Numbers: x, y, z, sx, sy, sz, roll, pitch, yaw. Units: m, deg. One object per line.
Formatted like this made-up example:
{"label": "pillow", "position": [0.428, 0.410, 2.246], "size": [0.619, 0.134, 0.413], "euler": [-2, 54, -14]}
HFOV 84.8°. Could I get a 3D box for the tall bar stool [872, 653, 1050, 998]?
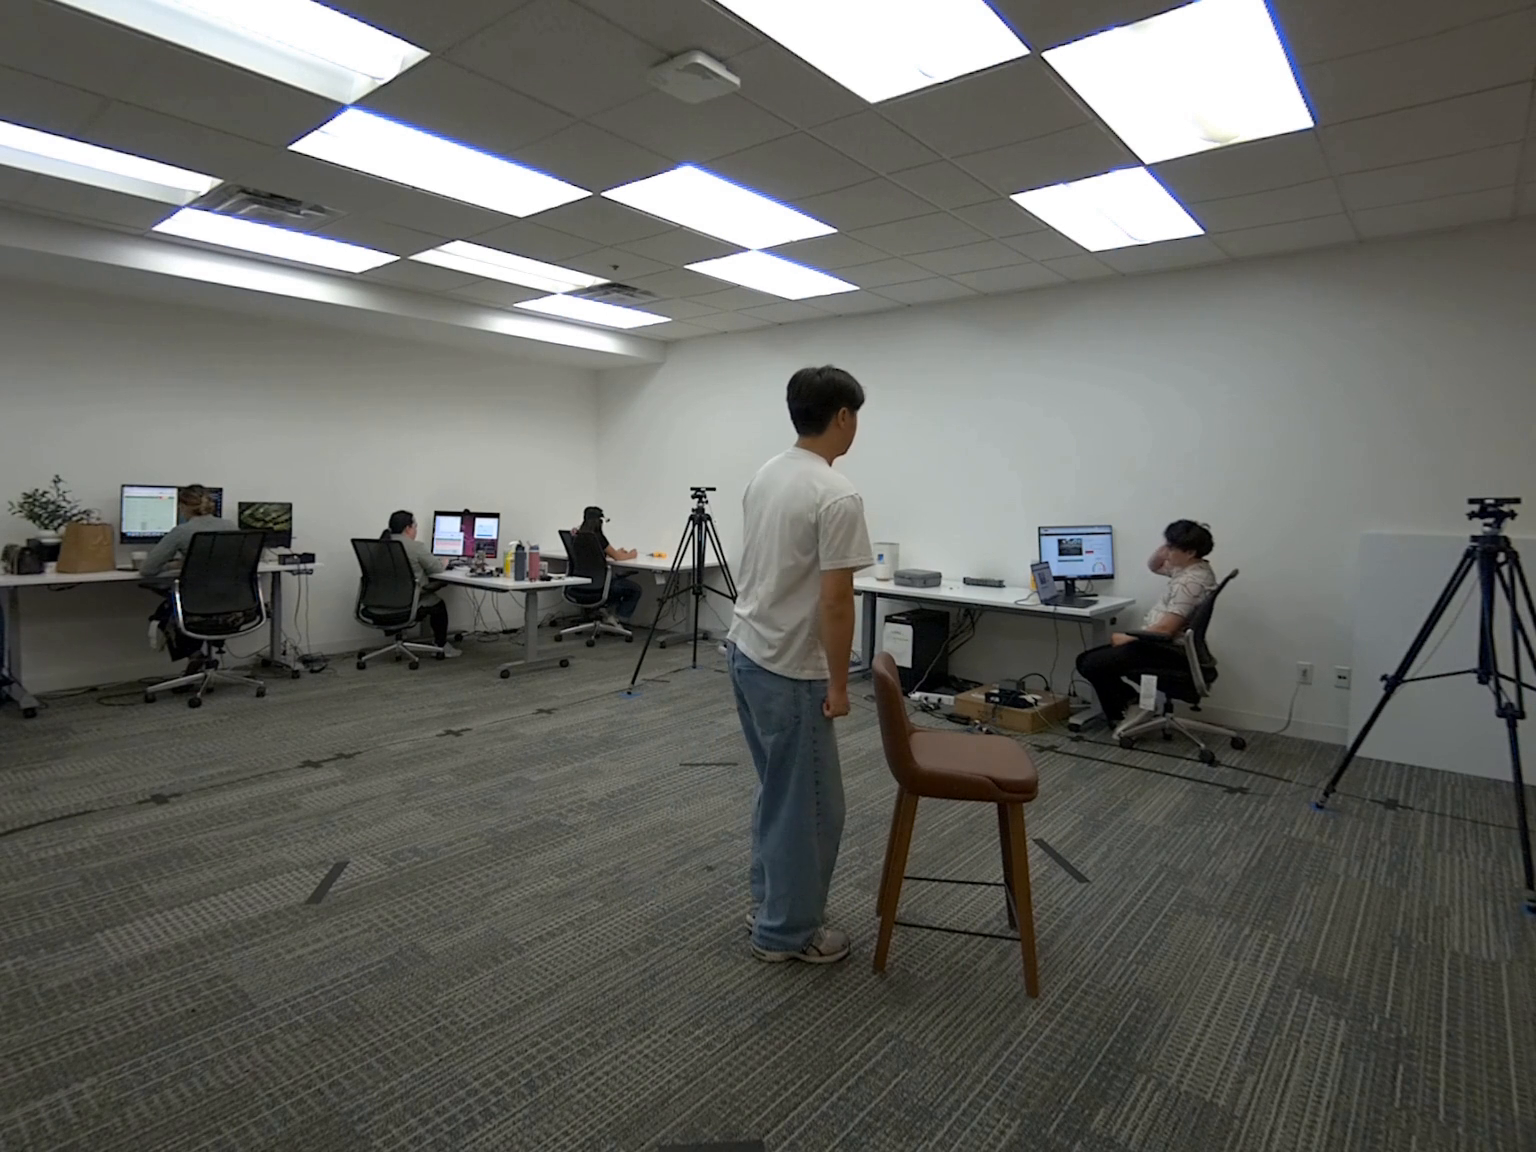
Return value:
{"label": "tall bar stool", "position": [0.552, 0.699, 2.571], "size": [0.474, 0.888, 0.452], "euler": [0, 3, 11]}
